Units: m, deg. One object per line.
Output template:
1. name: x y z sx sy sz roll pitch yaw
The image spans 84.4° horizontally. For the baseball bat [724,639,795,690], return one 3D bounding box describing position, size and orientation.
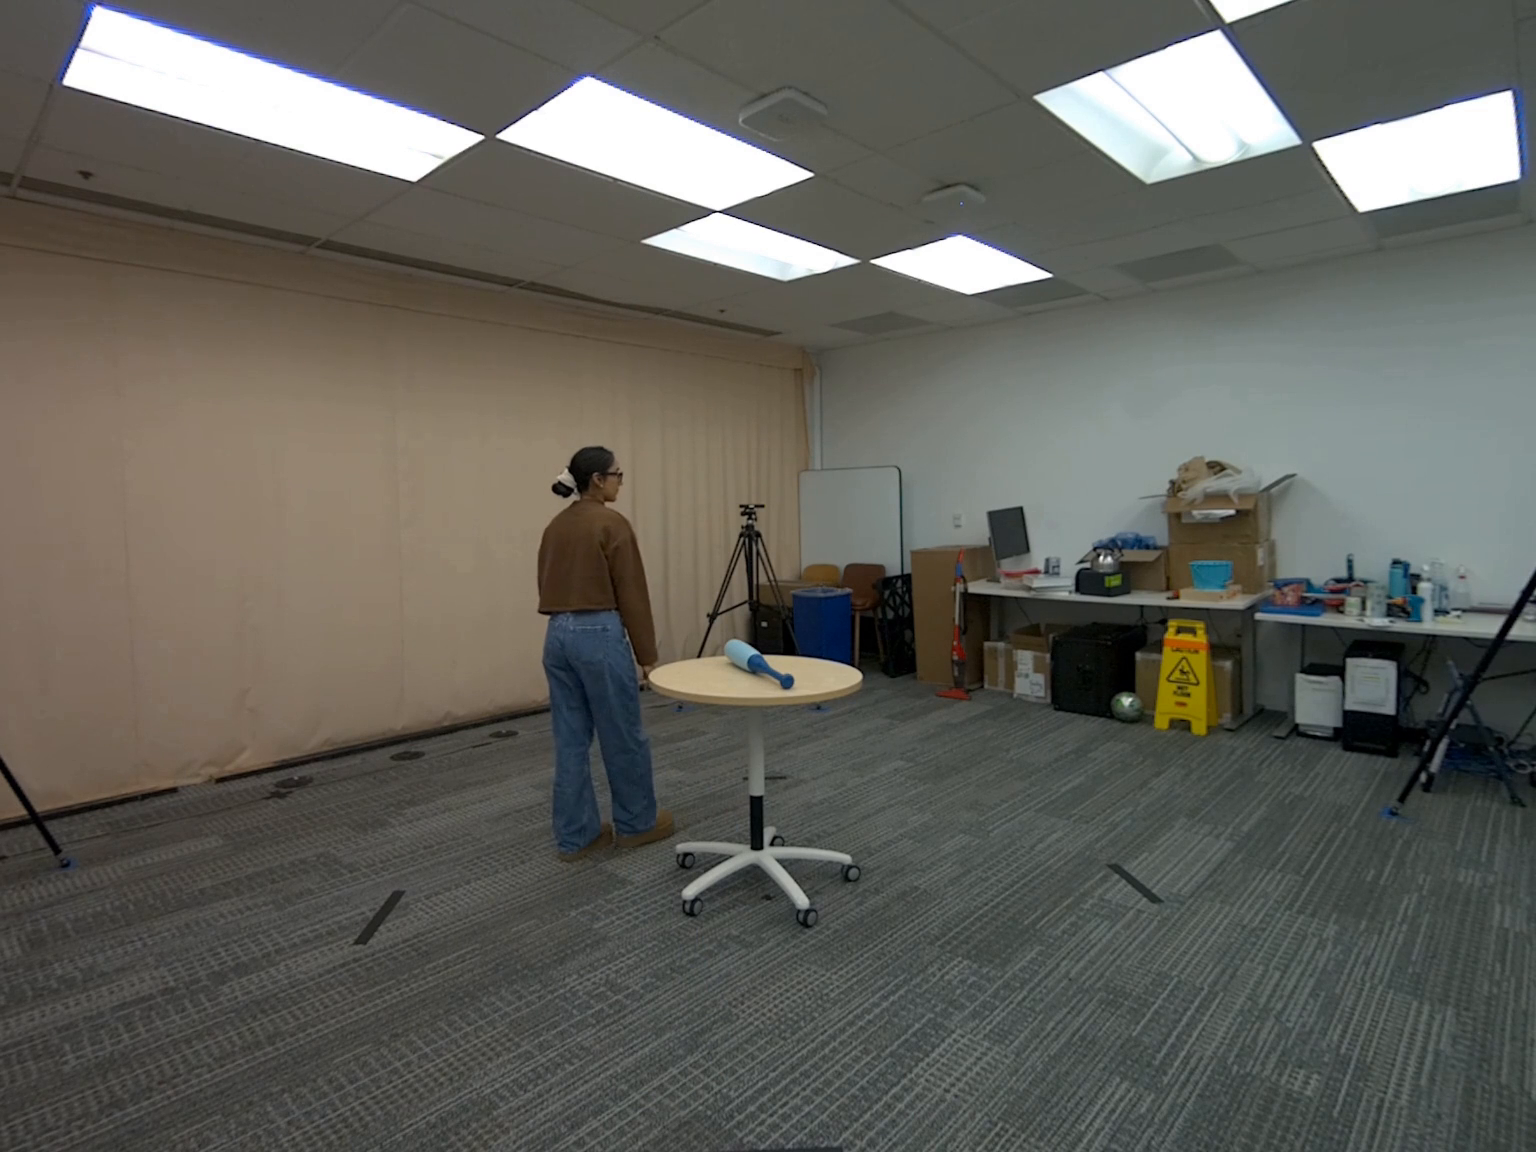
1. baseball bat: -0.032 0.319 3.017 0.087 0.089 0.556 -2 8 -21
